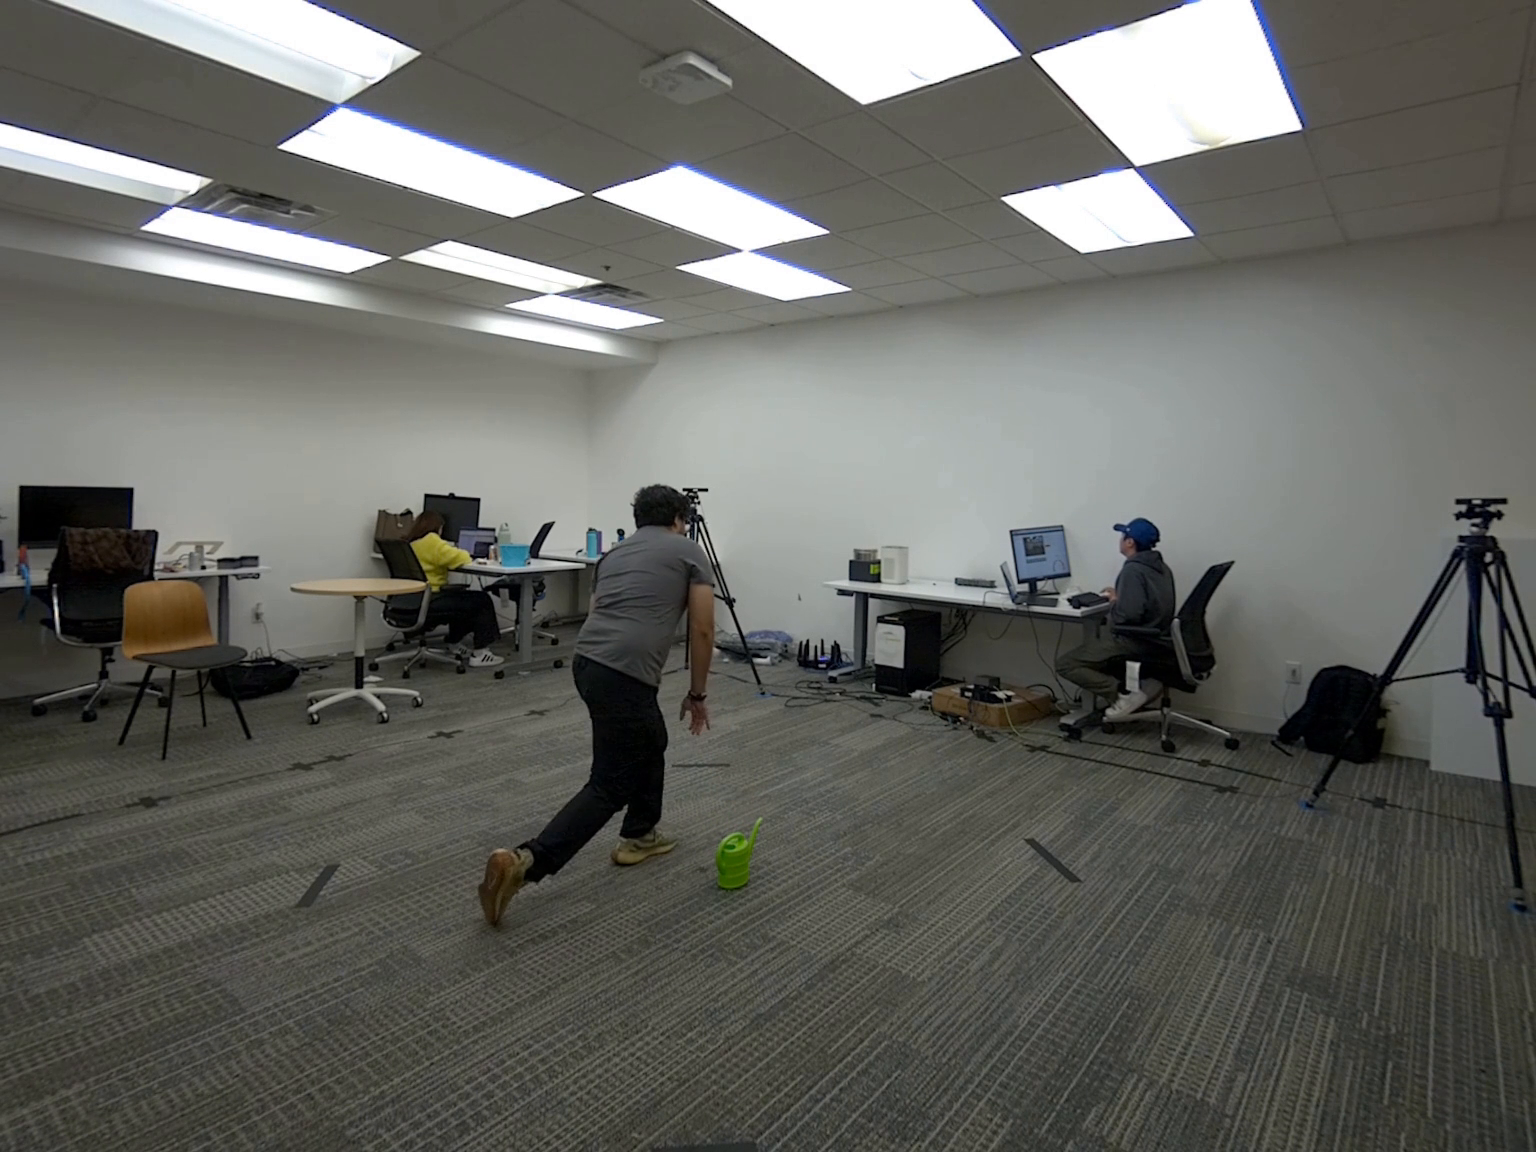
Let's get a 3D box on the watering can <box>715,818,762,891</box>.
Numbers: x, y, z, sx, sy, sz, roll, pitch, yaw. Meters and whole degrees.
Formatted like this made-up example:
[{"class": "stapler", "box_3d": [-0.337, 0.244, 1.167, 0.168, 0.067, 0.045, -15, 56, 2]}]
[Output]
[{"class": "watering can", "box_3d": [-0.096, 0.988, 3.030, 0.270, 0.176, 0.101, -5, 6, -39]}]
